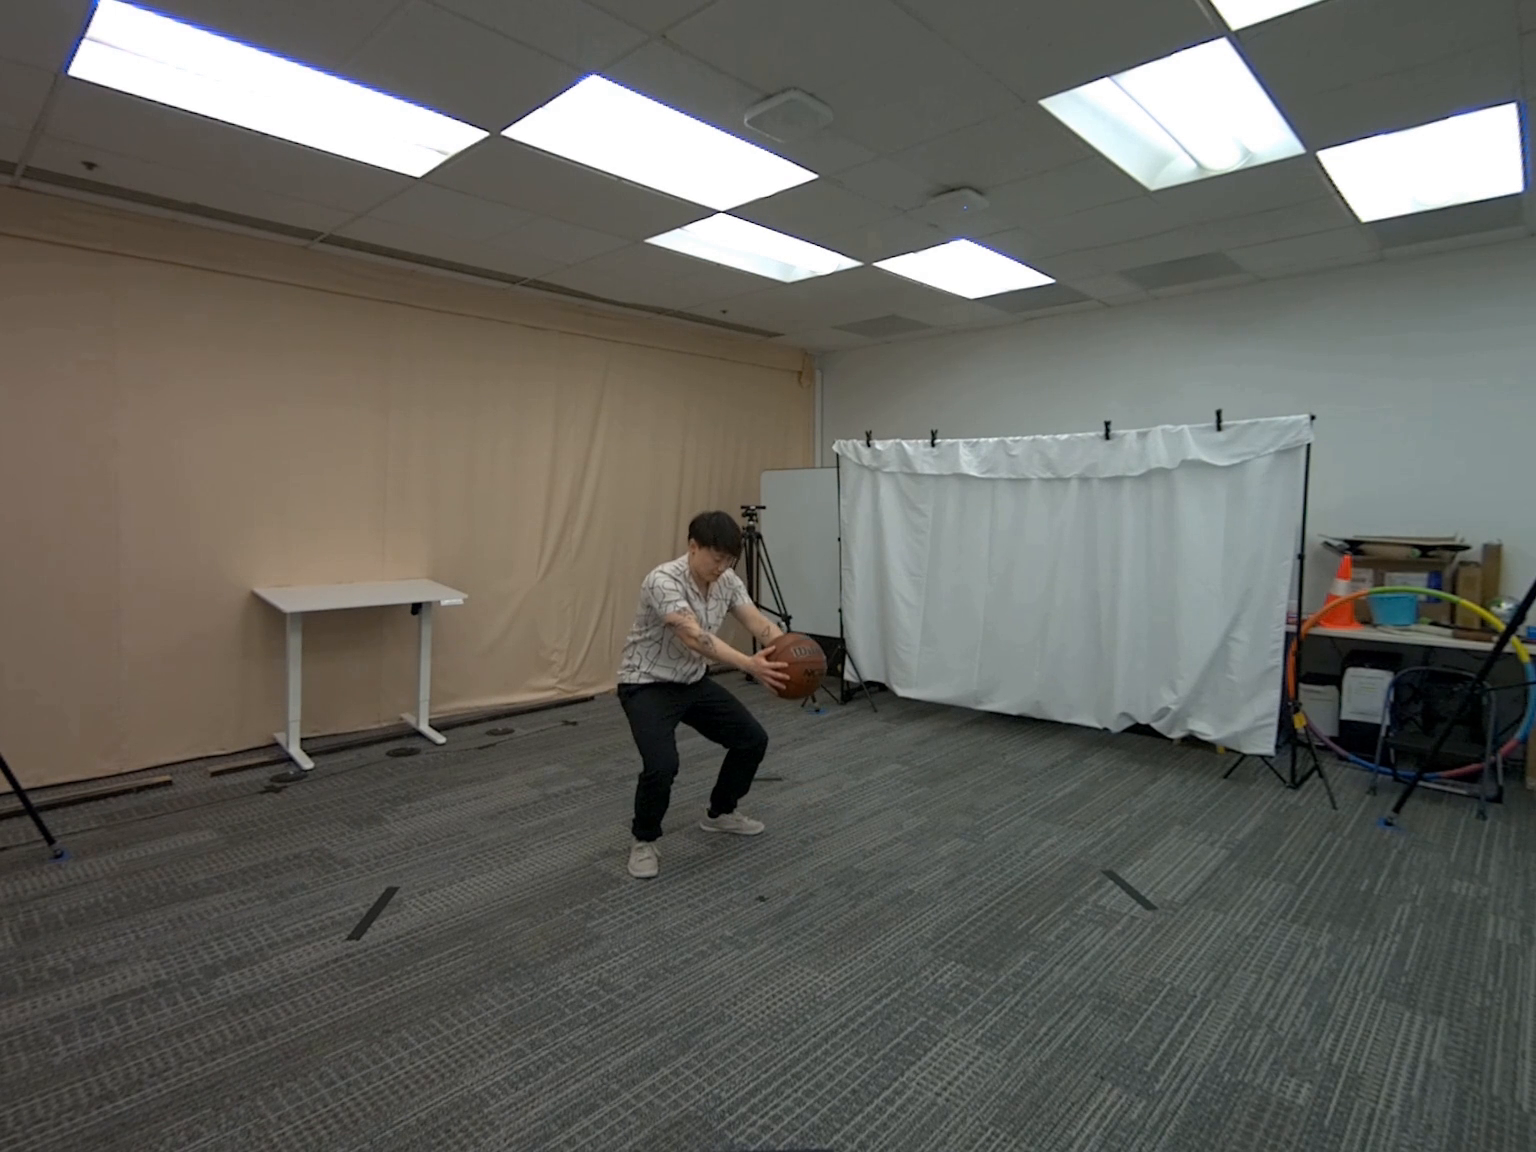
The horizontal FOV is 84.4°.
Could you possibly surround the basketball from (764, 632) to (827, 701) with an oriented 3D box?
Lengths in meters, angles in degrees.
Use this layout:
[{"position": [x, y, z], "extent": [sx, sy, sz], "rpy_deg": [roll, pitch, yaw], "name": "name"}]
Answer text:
[{"position": [0.096, 0.326, 3.010], "extent": [0.236, 0.235, 0.237], "rpy_deg": [0, 4, -2], "name": "basketball"}]
